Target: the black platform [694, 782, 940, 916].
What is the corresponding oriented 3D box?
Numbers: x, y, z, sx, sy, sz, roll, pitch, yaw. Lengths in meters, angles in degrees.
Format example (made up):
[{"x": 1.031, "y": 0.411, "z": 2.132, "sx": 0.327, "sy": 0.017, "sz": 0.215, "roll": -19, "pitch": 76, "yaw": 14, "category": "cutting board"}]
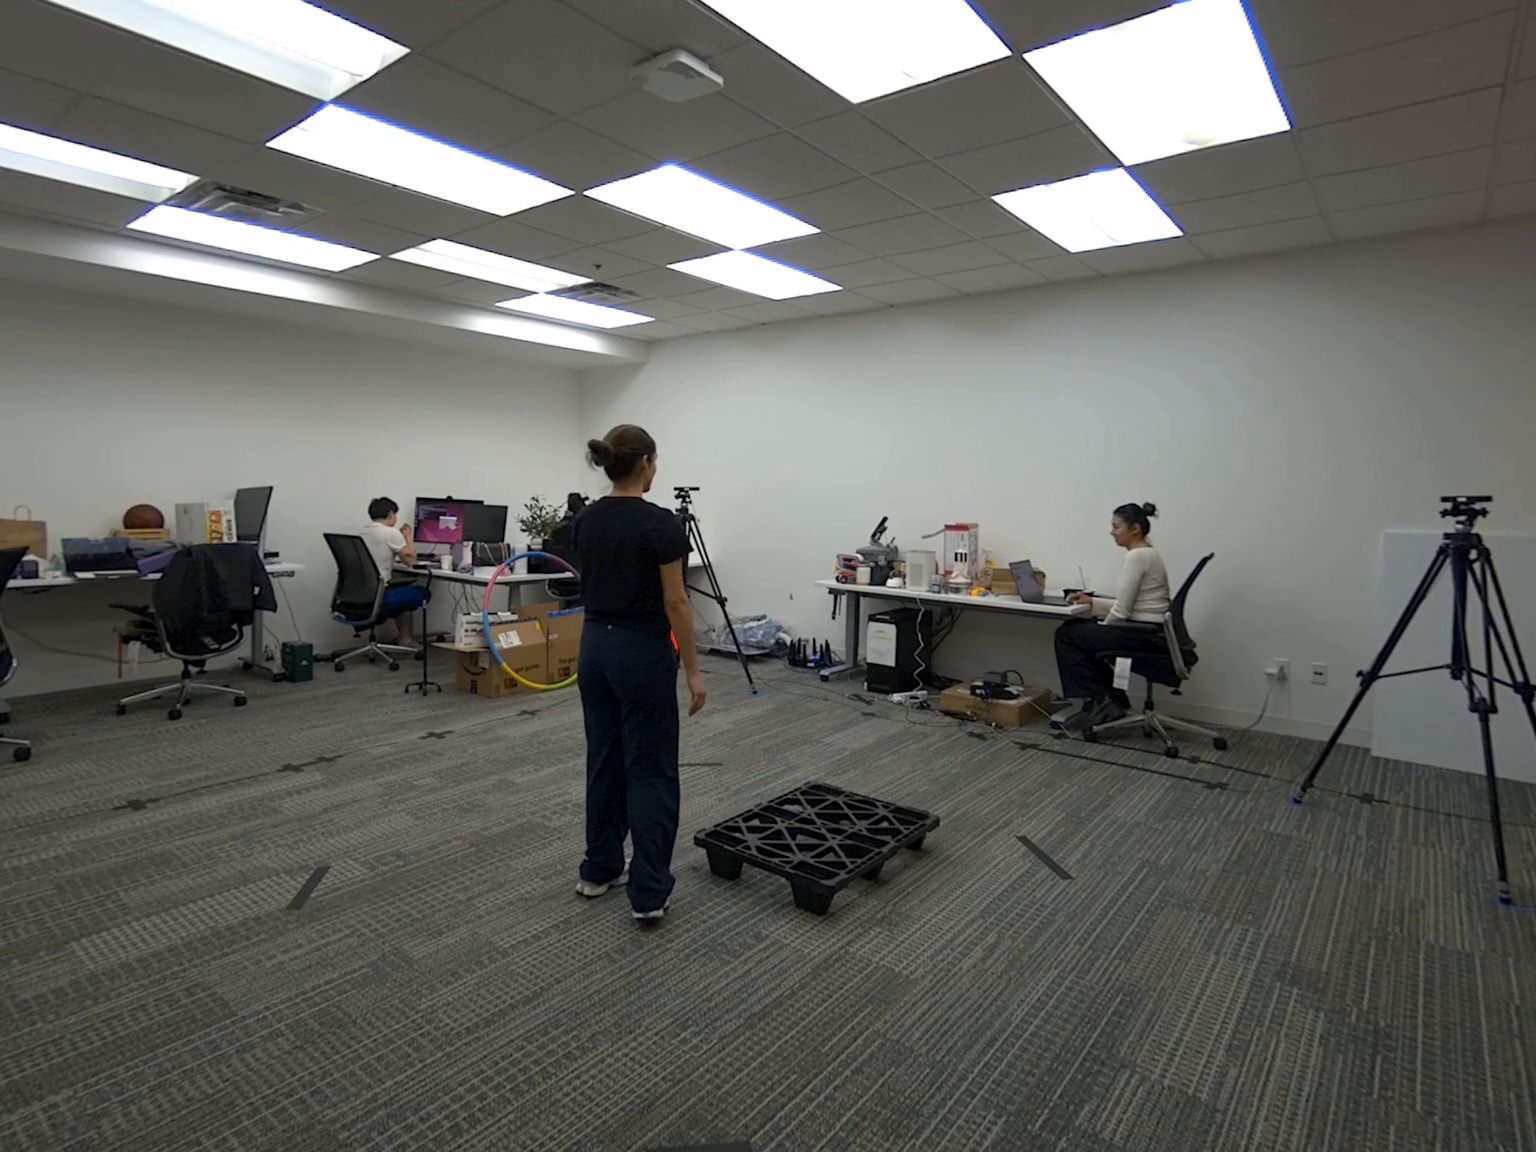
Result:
[{"x": 0.209, "y": 0.999, "z": 3.208, "sx": 0.625, "sy": 0.143, "sz": 0.782, "roll": 5, "pitch": 6, "yaw": 38, "category": "black platform"}]
